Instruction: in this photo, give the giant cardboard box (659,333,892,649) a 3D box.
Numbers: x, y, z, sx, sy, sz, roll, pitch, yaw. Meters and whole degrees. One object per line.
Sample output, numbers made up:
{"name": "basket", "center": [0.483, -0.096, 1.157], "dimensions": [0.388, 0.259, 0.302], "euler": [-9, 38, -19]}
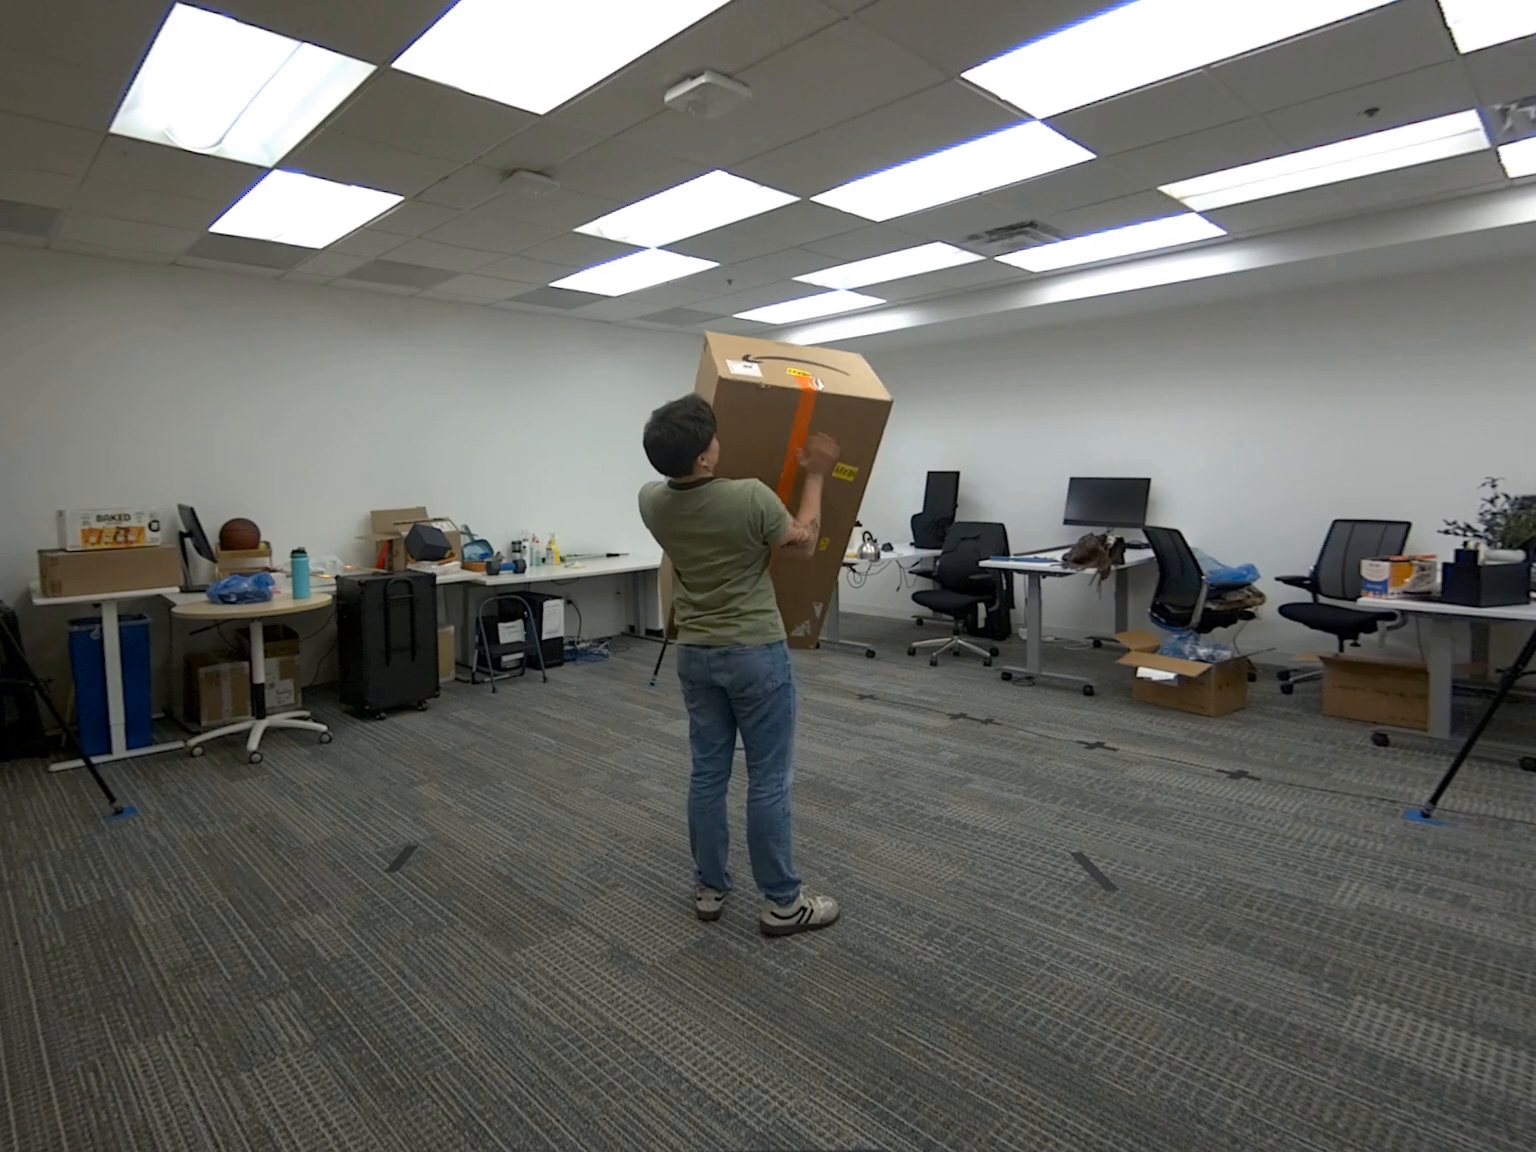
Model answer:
{"name": "giant cardboard box", "center": [-0.015, -0.279, 3.071], "dimensions": [0.570, 1.008, 0.439], "euler": [6, 31, -13]}
